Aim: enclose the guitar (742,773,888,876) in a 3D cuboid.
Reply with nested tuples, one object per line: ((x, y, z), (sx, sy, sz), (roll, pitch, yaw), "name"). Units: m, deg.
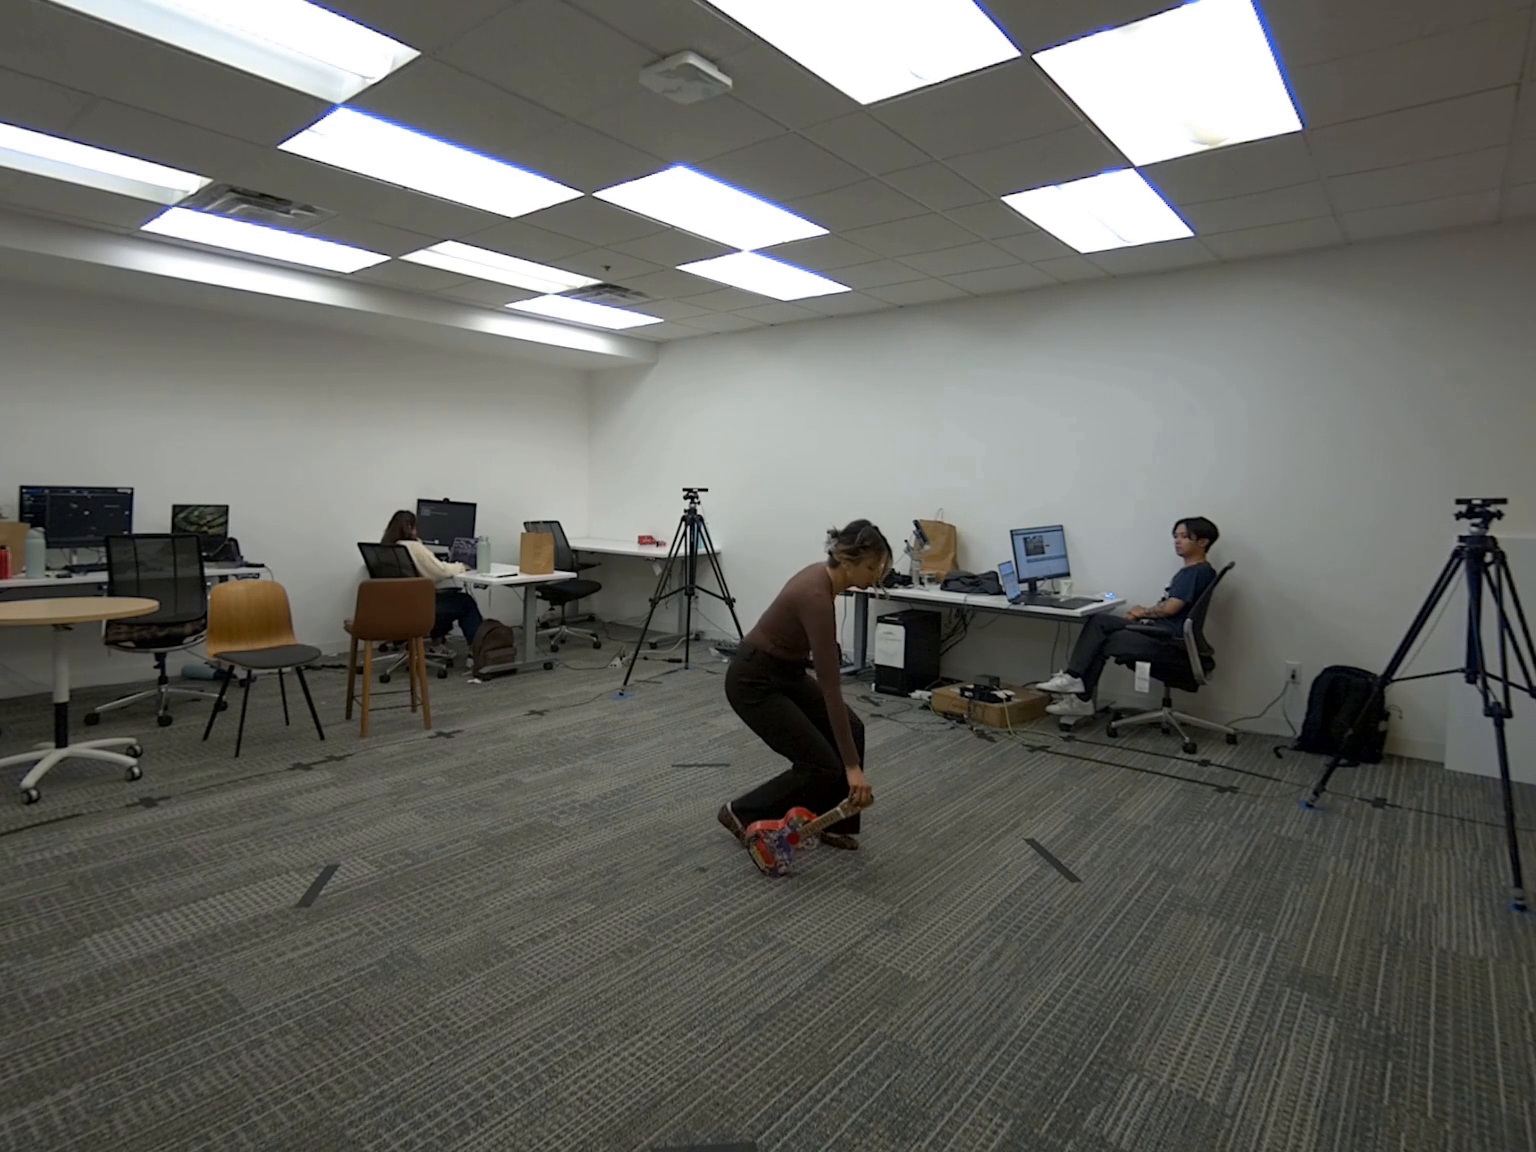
((0.155, 0.898, 3.040), (0.501, 0.192, 0.070), (-22, 3, 10), "guitar")
